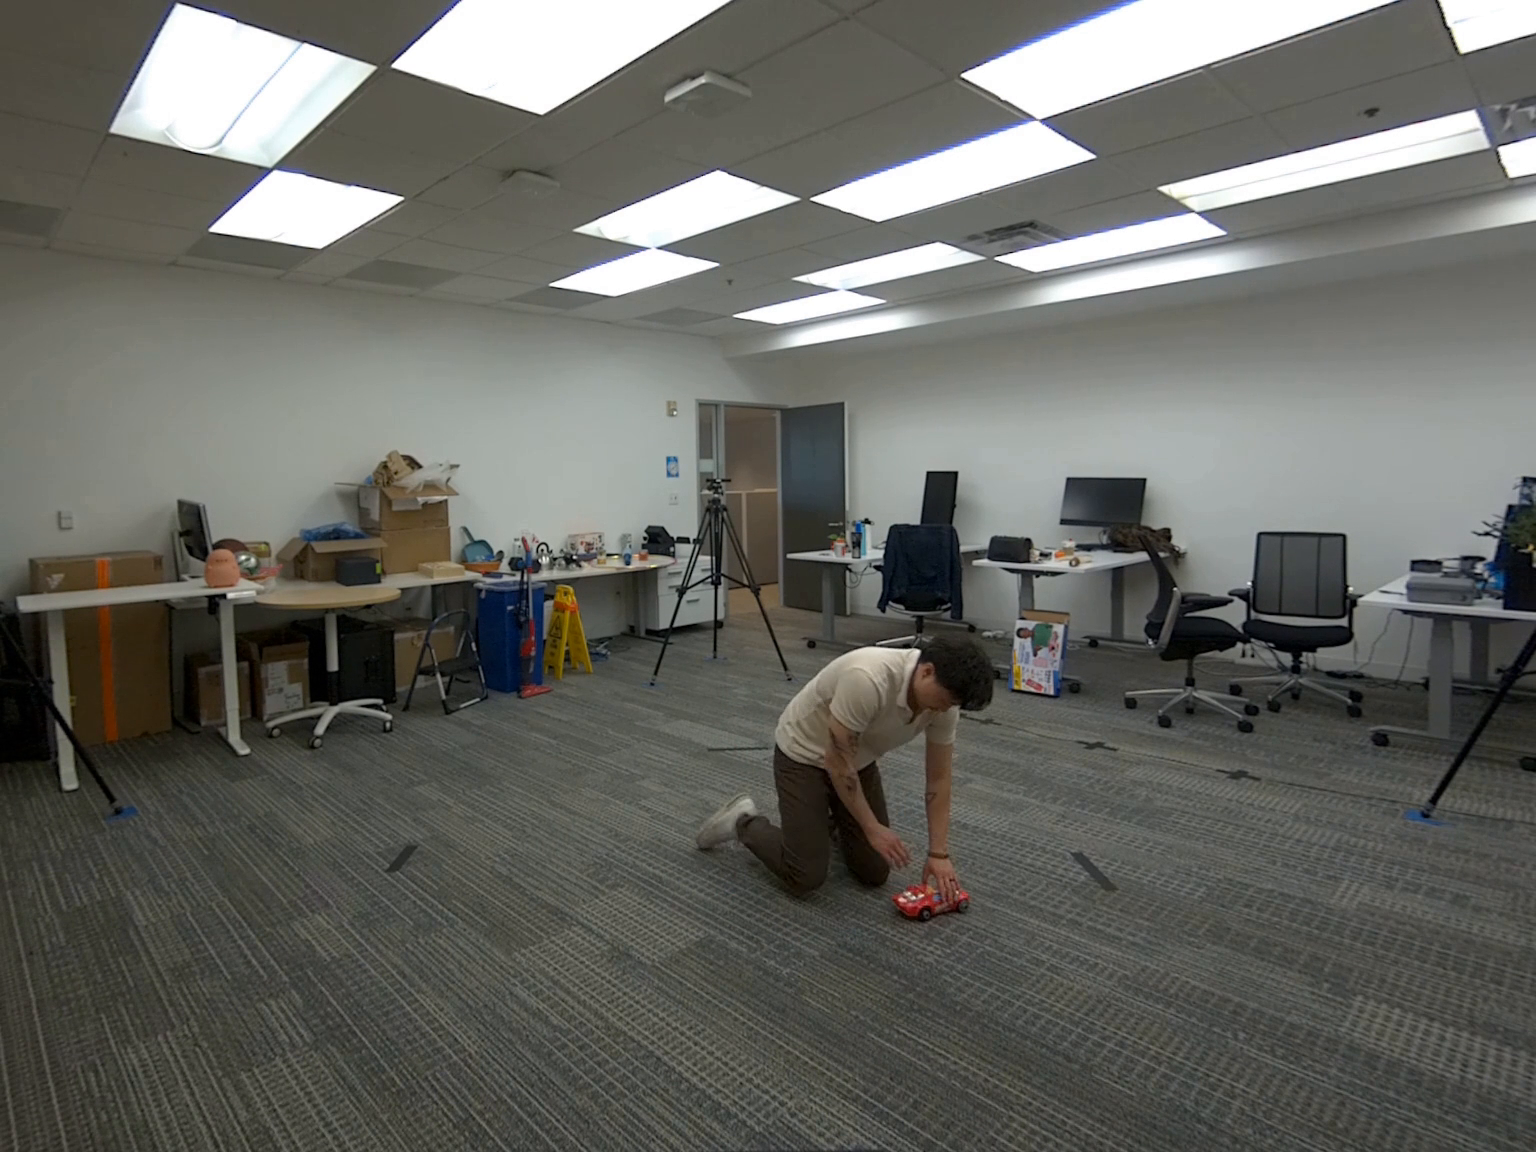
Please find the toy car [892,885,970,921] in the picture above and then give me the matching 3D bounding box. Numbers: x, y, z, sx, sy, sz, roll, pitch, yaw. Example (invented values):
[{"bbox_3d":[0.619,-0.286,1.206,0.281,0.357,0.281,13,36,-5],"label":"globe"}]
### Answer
[{"bbox_3d":[0.518,1.042,2.742,0.249,0.083,0.133,9,2,-22],"label":"toy car"}]
